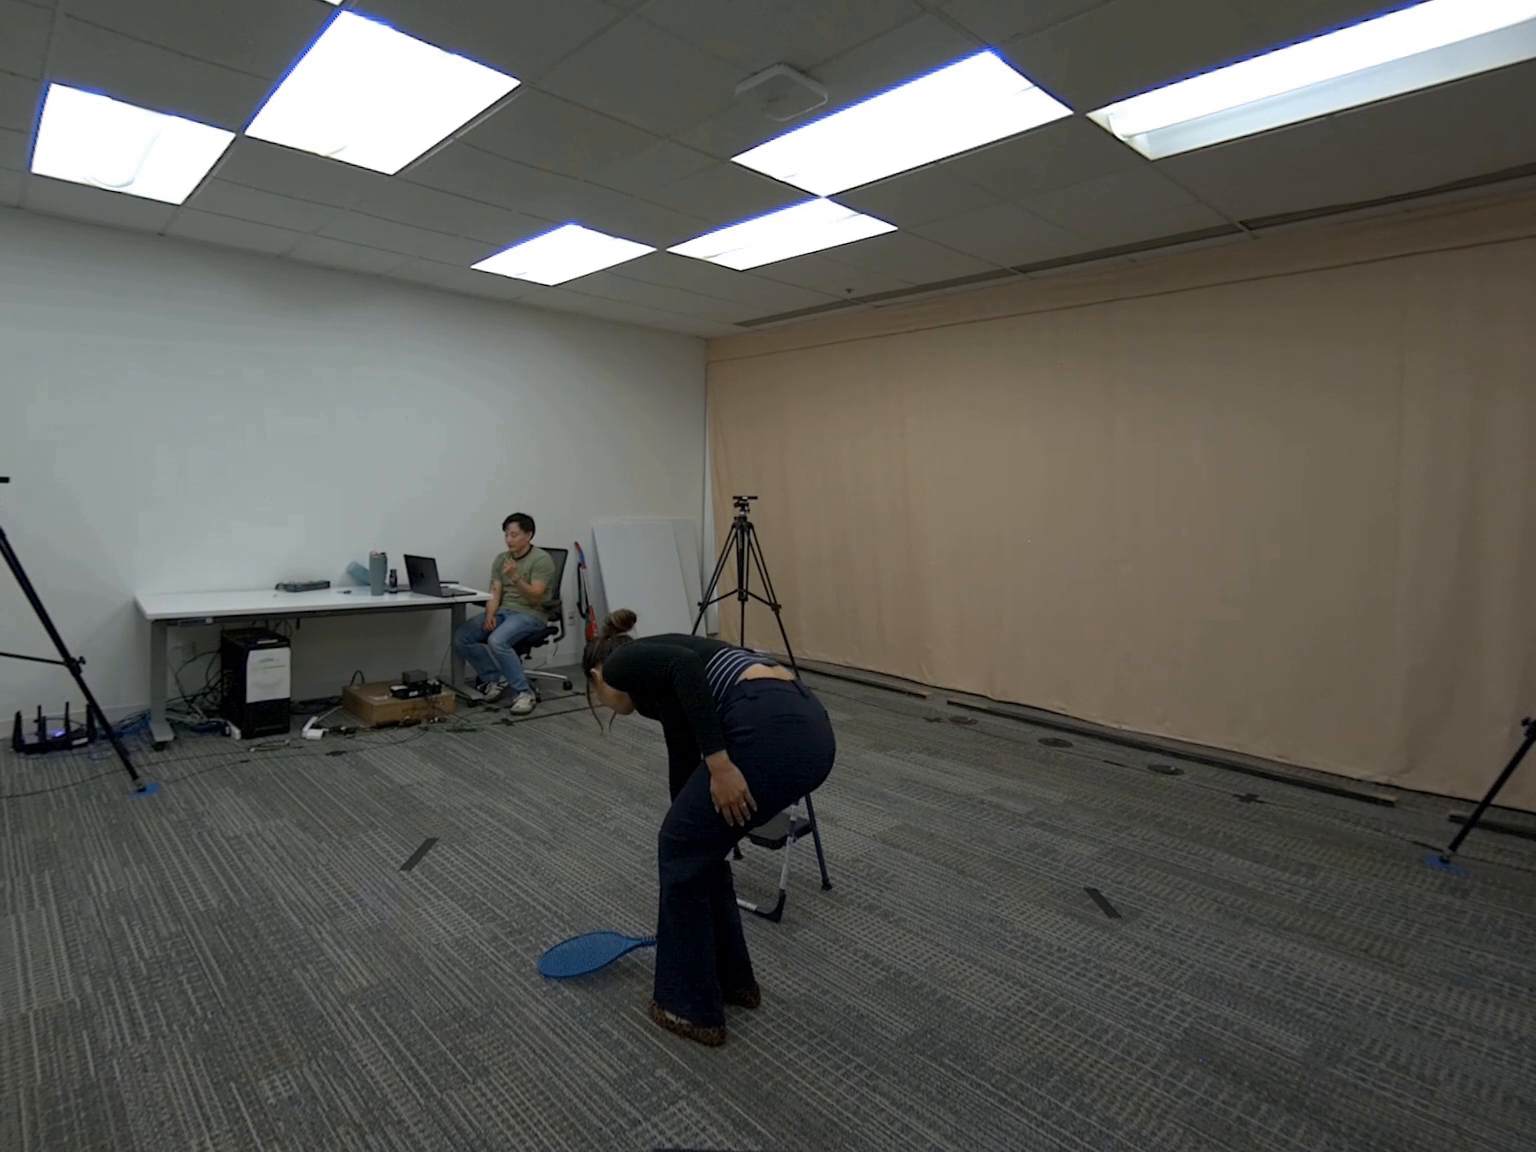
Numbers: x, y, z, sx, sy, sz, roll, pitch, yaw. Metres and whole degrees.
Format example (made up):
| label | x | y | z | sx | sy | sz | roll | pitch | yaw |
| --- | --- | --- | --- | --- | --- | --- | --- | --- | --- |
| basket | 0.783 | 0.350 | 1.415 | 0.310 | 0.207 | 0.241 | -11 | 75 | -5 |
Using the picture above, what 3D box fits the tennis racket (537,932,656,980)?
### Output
| label | x | y | z | sx | sy | sz | roll | pitch | yaw |
| --- | --- | --- | --- | --- | --- | --- | --- | --- | --- |
| tennis racket | -0.472 | 1.096 | 2.473 | 0.433 | 0.031 | 0.214 | -11 | 5 | 1 |
